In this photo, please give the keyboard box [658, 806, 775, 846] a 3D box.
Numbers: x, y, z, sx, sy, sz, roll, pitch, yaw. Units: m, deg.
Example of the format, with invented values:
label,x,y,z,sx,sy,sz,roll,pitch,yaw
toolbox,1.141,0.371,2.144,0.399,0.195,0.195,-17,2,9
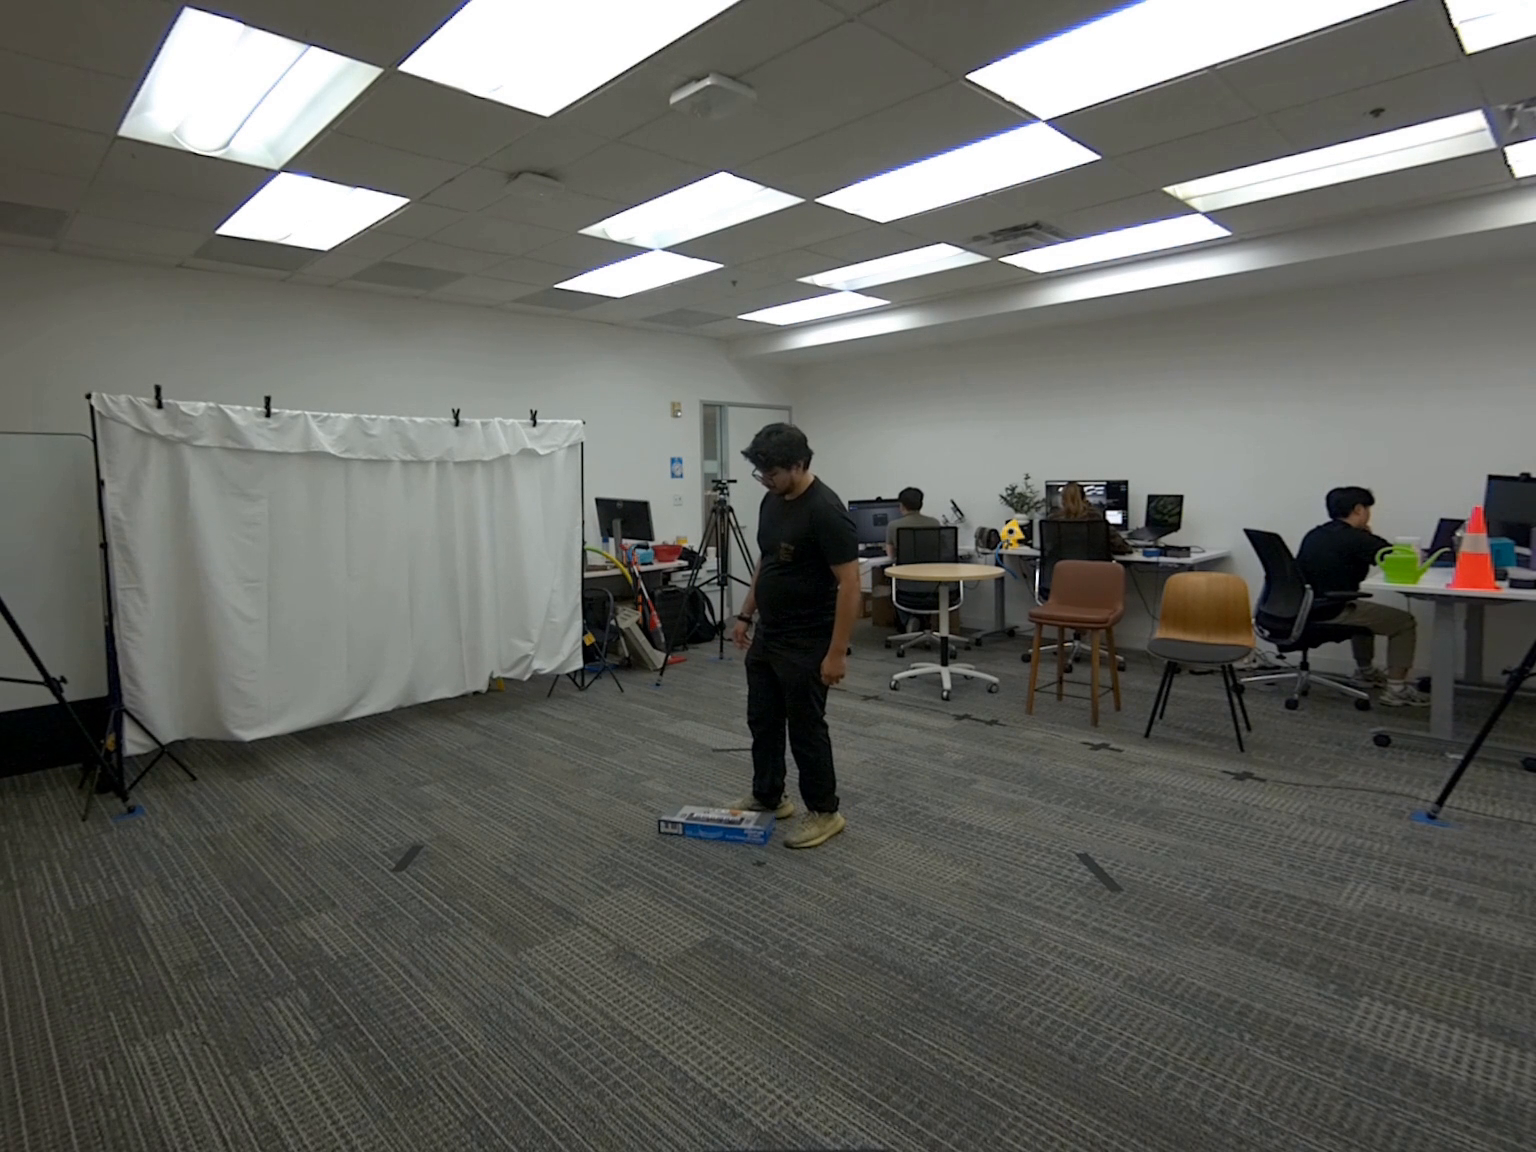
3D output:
label,x,y,z,sx,sy,sz,roll,pitch,yaw
keyboard box,-0.197,0.987,3.415,0.443,0.059,0.174,1,5,15
